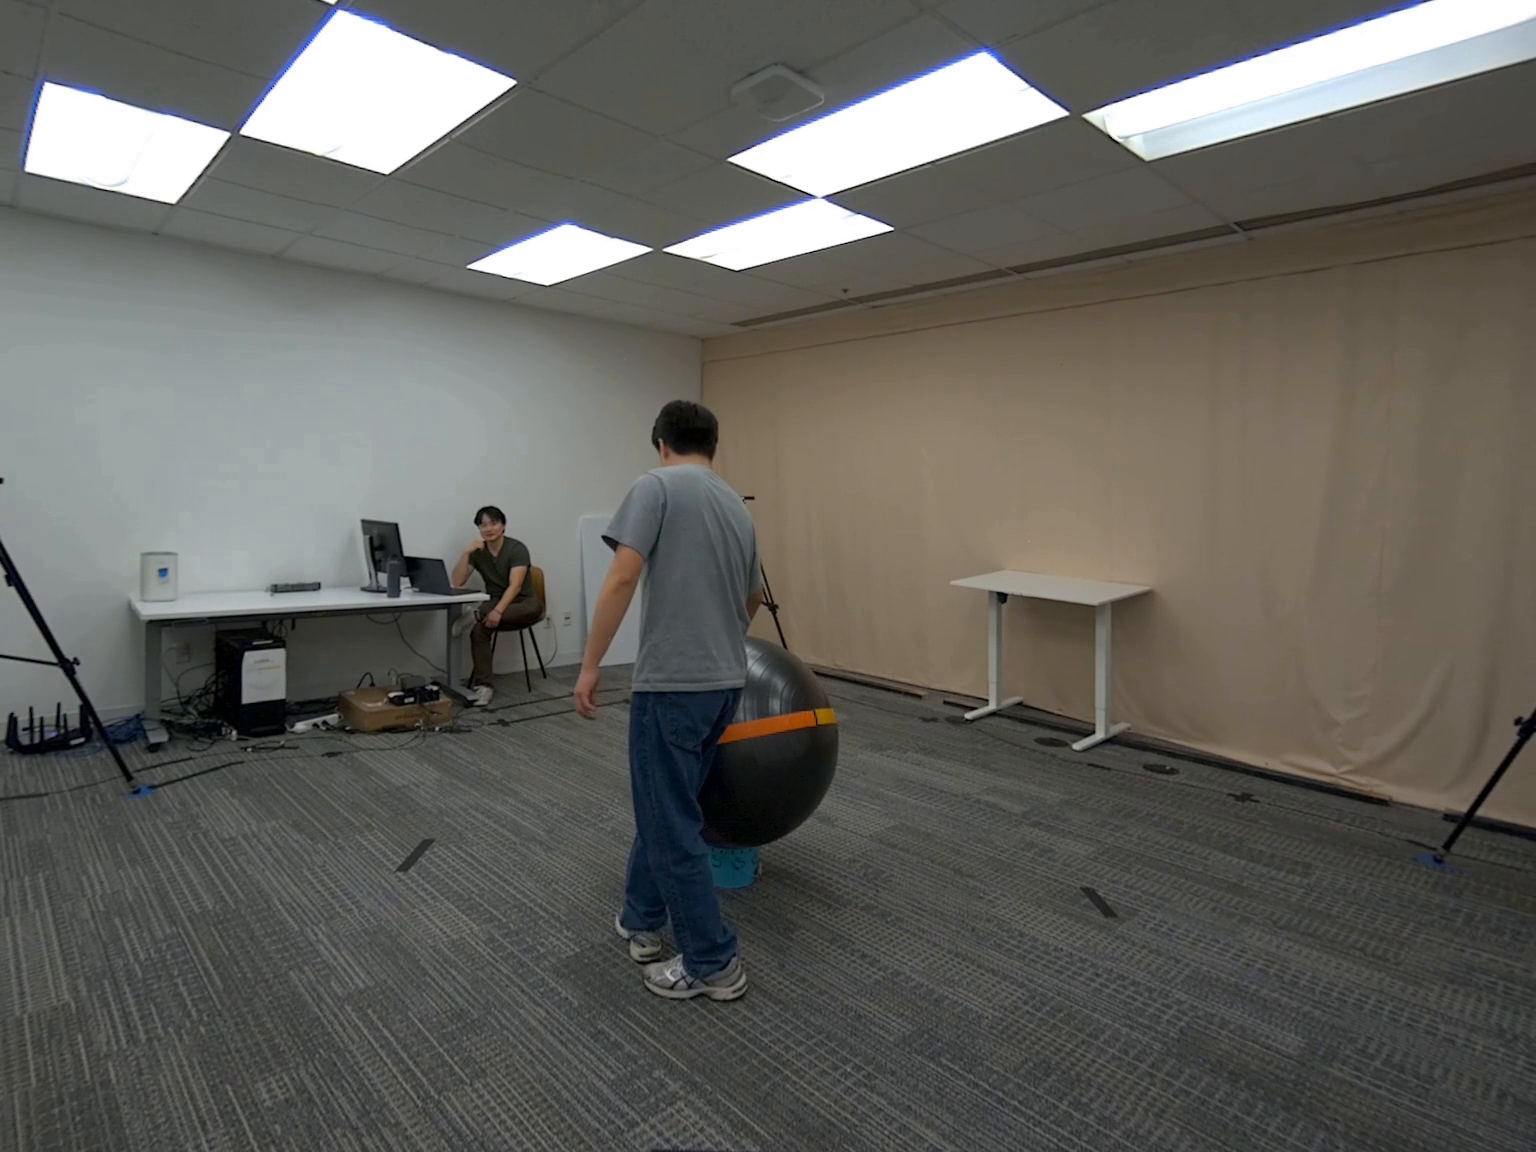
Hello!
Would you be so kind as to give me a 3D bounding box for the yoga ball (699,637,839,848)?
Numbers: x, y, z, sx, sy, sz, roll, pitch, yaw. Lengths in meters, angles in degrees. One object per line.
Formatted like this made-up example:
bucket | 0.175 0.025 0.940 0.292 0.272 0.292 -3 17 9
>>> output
yoga ball | -0.131 0.599 3.069 0.757 0.756 0.761 1 4 -1
